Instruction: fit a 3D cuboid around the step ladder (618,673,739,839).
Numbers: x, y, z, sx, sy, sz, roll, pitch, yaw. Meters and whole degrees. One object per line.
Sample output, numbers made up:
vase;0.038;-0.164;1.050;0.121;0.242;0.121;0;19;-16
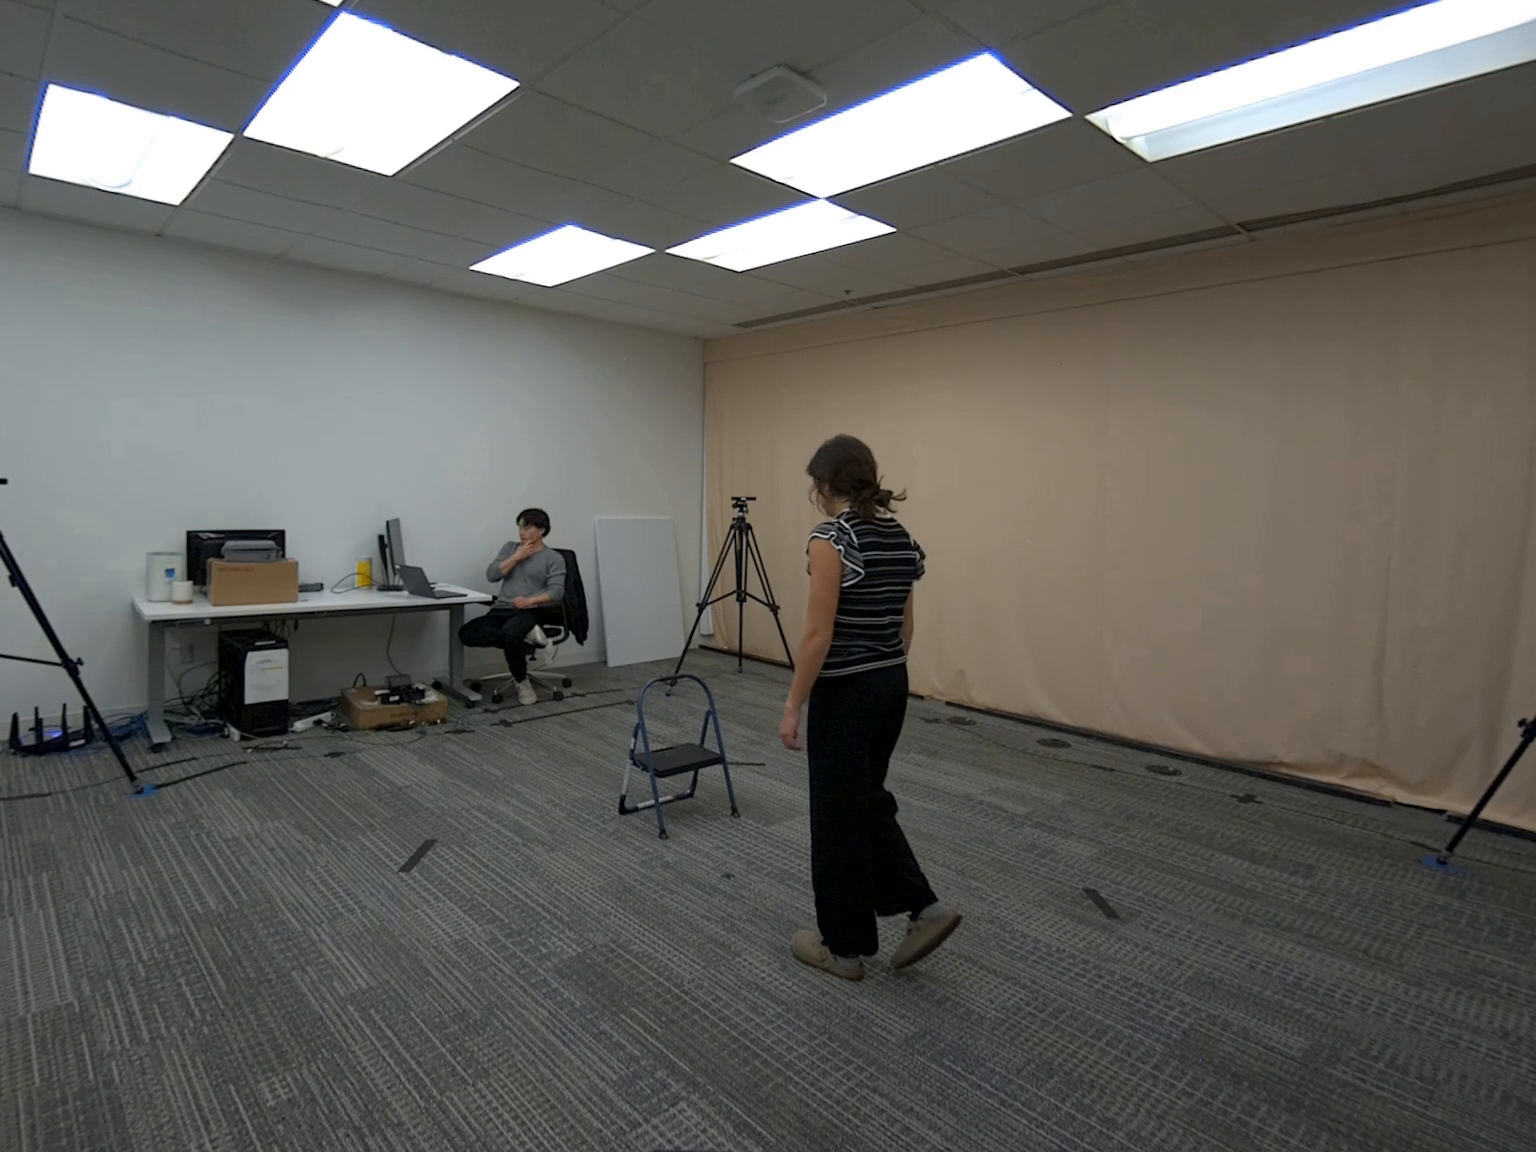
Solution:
step ladder;-0.390;0.750;3.678;0.420;0.605;0.358;-1;4;-43
